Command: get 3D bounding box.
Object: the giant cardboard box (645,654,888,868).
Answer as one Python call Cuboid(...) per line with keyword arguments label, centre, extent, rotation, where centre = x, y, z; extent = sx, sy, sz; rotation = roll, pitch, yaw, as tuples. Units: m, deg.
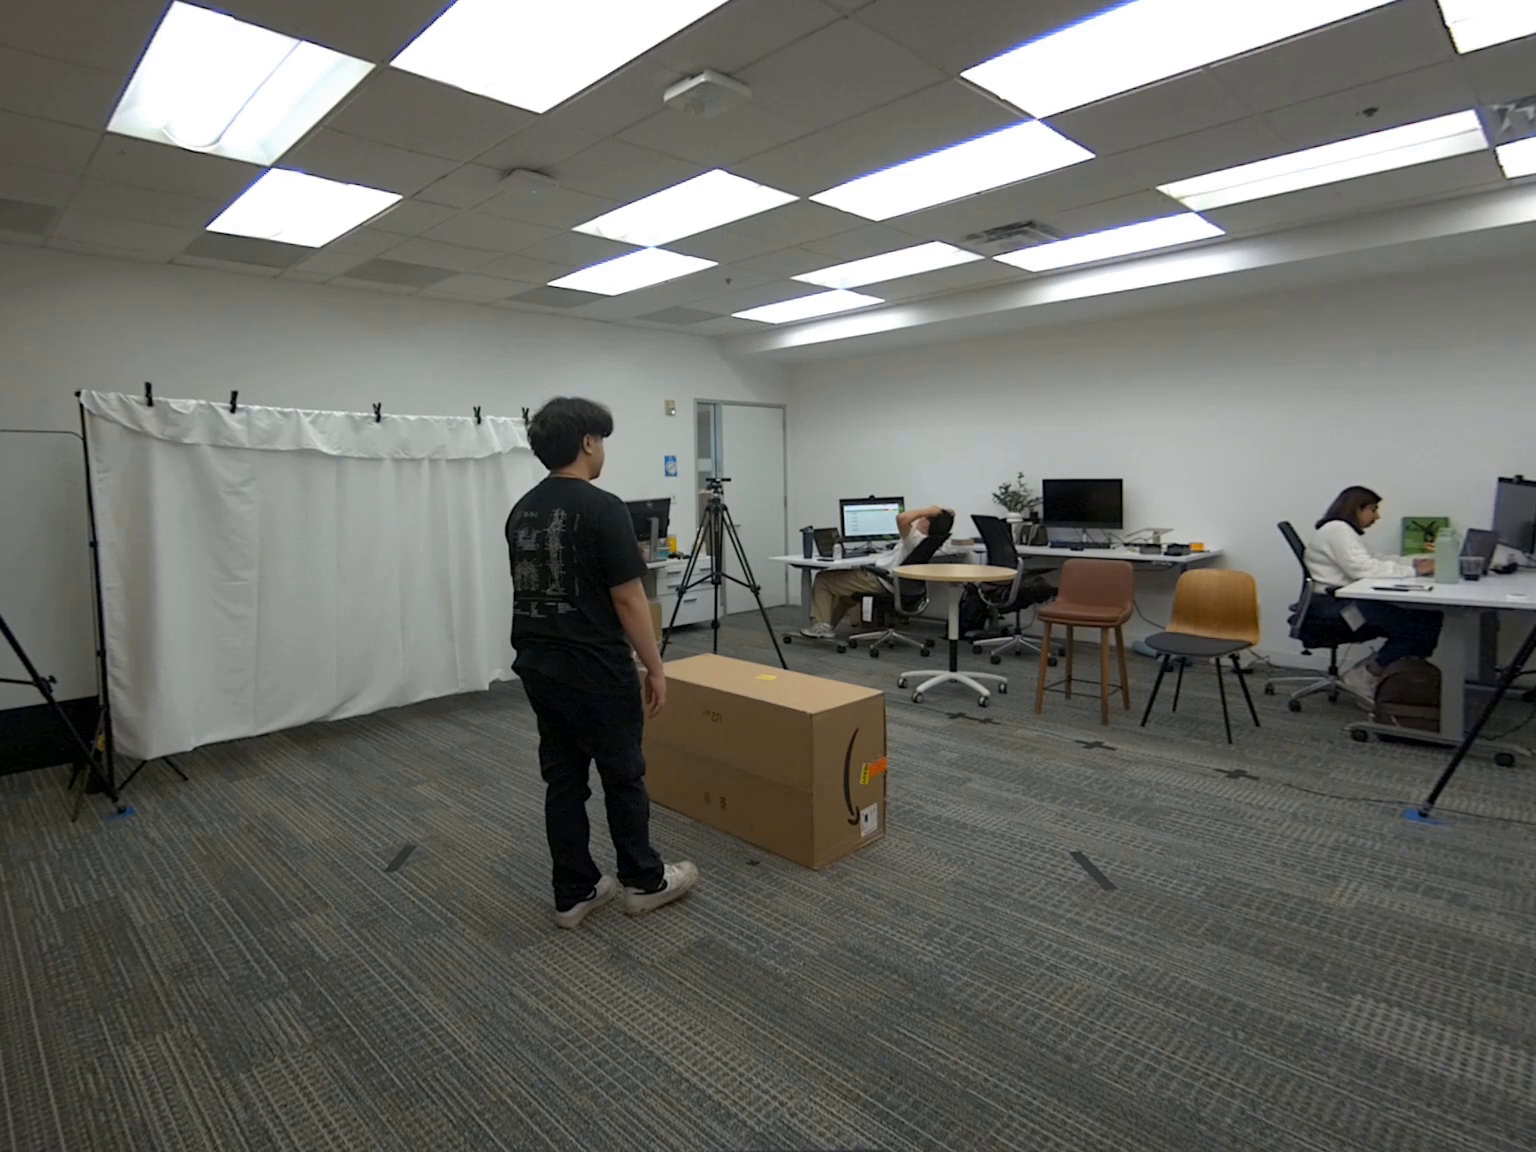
Cuboid(label="giant cardboard box", centre=(-0.054, 0.709, 3.526), extent=(0.435, 0.582, 1.059), rotation=(-4, 7, -44))
